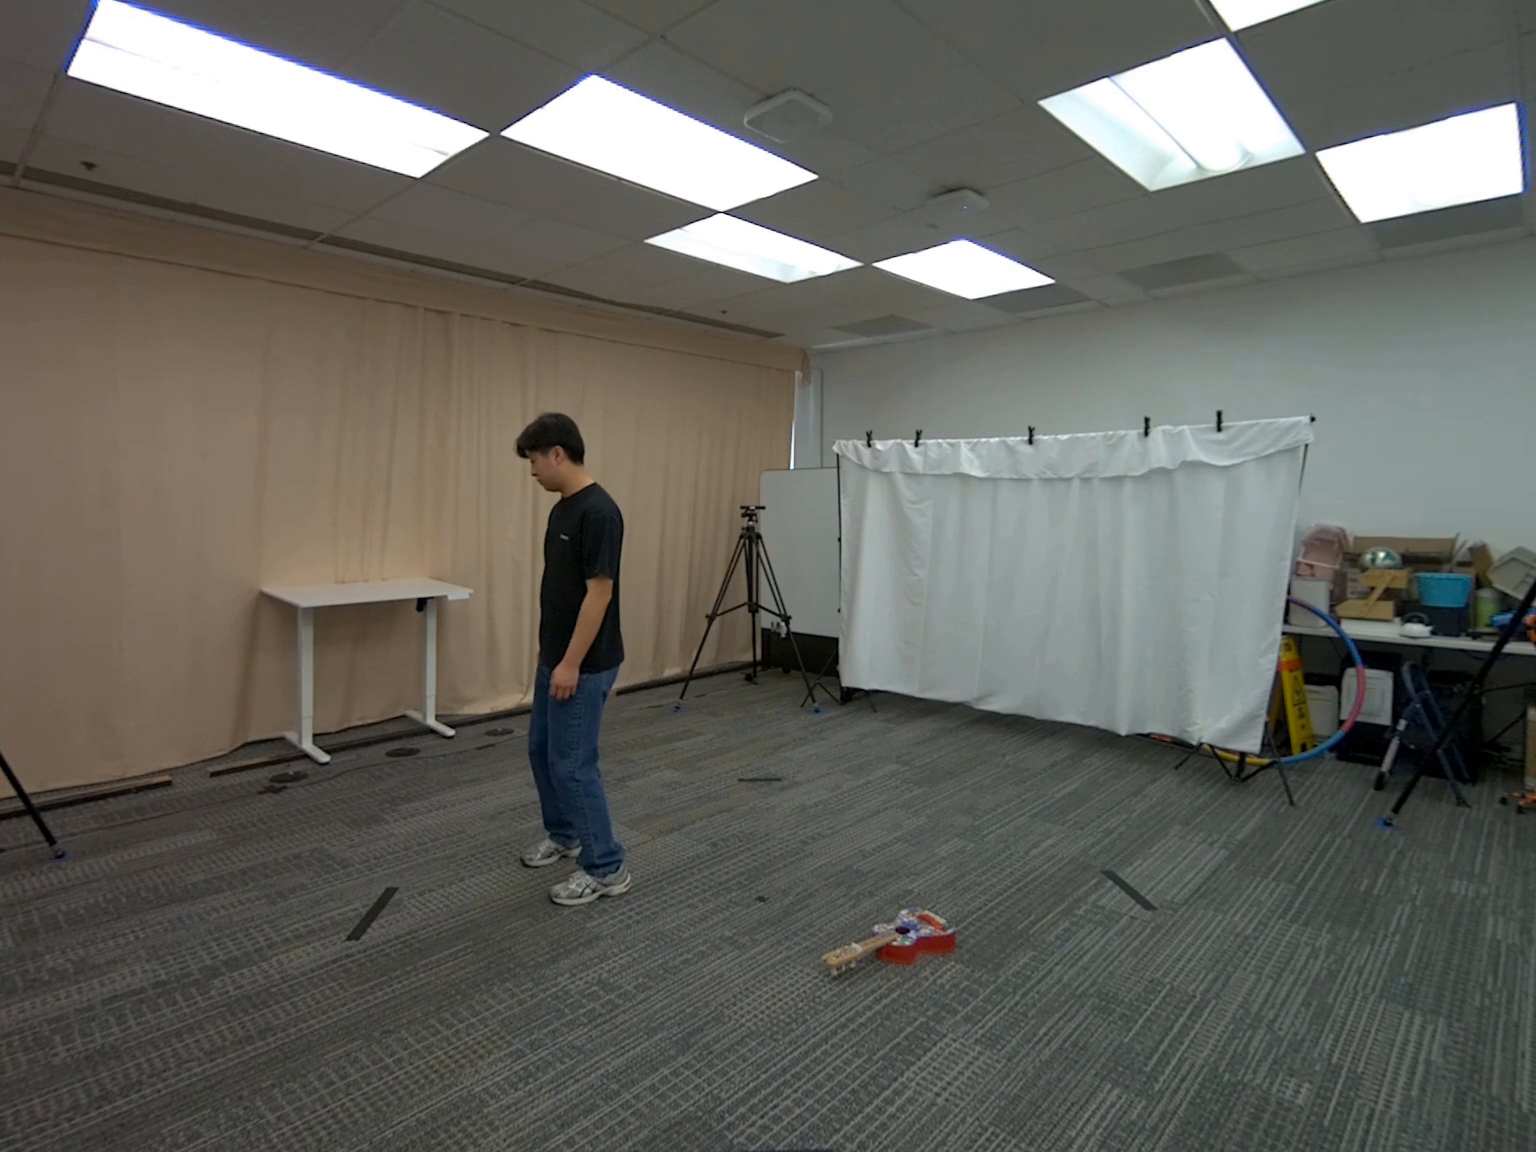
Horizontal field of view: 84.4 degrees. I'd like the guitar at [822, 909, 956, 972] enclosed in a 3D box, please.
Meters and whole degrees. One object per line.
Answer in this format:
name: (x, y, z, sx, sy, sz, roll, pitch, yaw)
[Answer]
guitar: (0.358, 1.141, 2.621, 0.485, 0.070, 0.198, -2, 5, -26)
